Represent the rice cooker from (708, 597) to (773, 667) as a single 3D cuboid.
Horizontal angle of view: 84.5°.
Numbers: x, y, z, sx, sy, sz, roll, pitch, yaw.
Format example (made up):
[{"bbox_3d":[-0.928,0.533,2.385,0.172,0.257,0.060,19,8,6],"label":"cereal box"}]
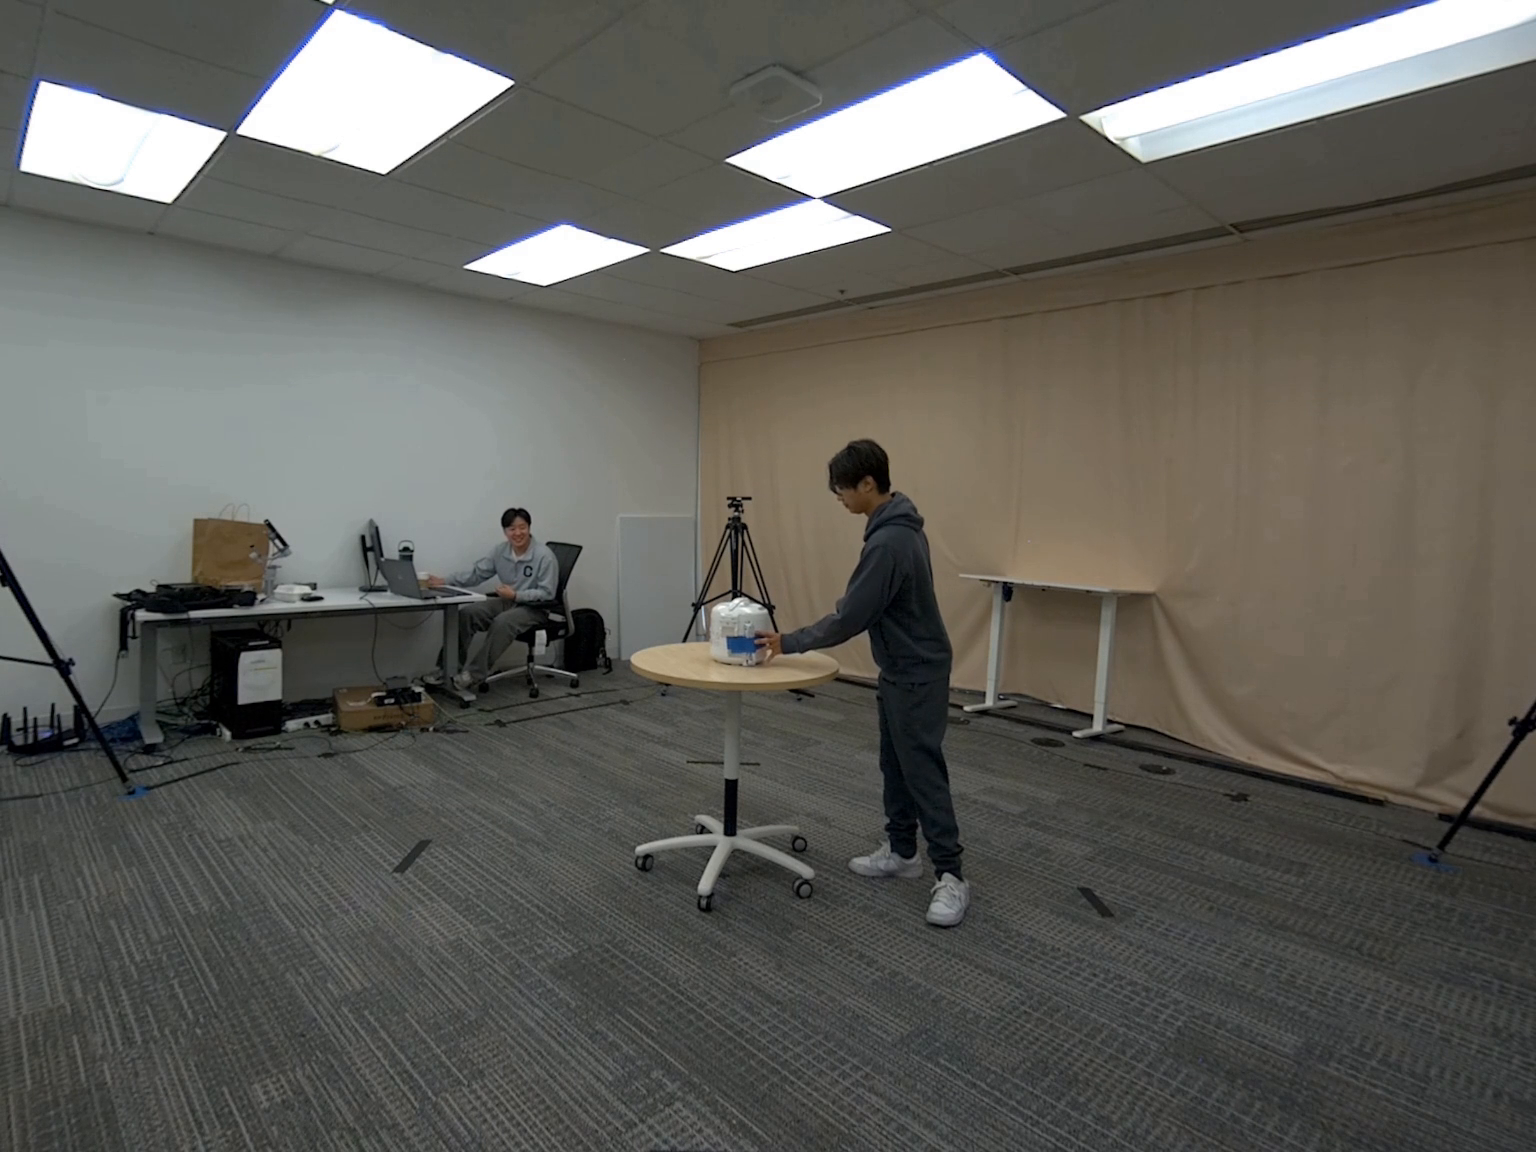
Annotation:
[{"bbox_3d":[-0.110,0.195,3.076,0.221,0.232,0.217,4,5,22],"label":"rice cooker"}]
